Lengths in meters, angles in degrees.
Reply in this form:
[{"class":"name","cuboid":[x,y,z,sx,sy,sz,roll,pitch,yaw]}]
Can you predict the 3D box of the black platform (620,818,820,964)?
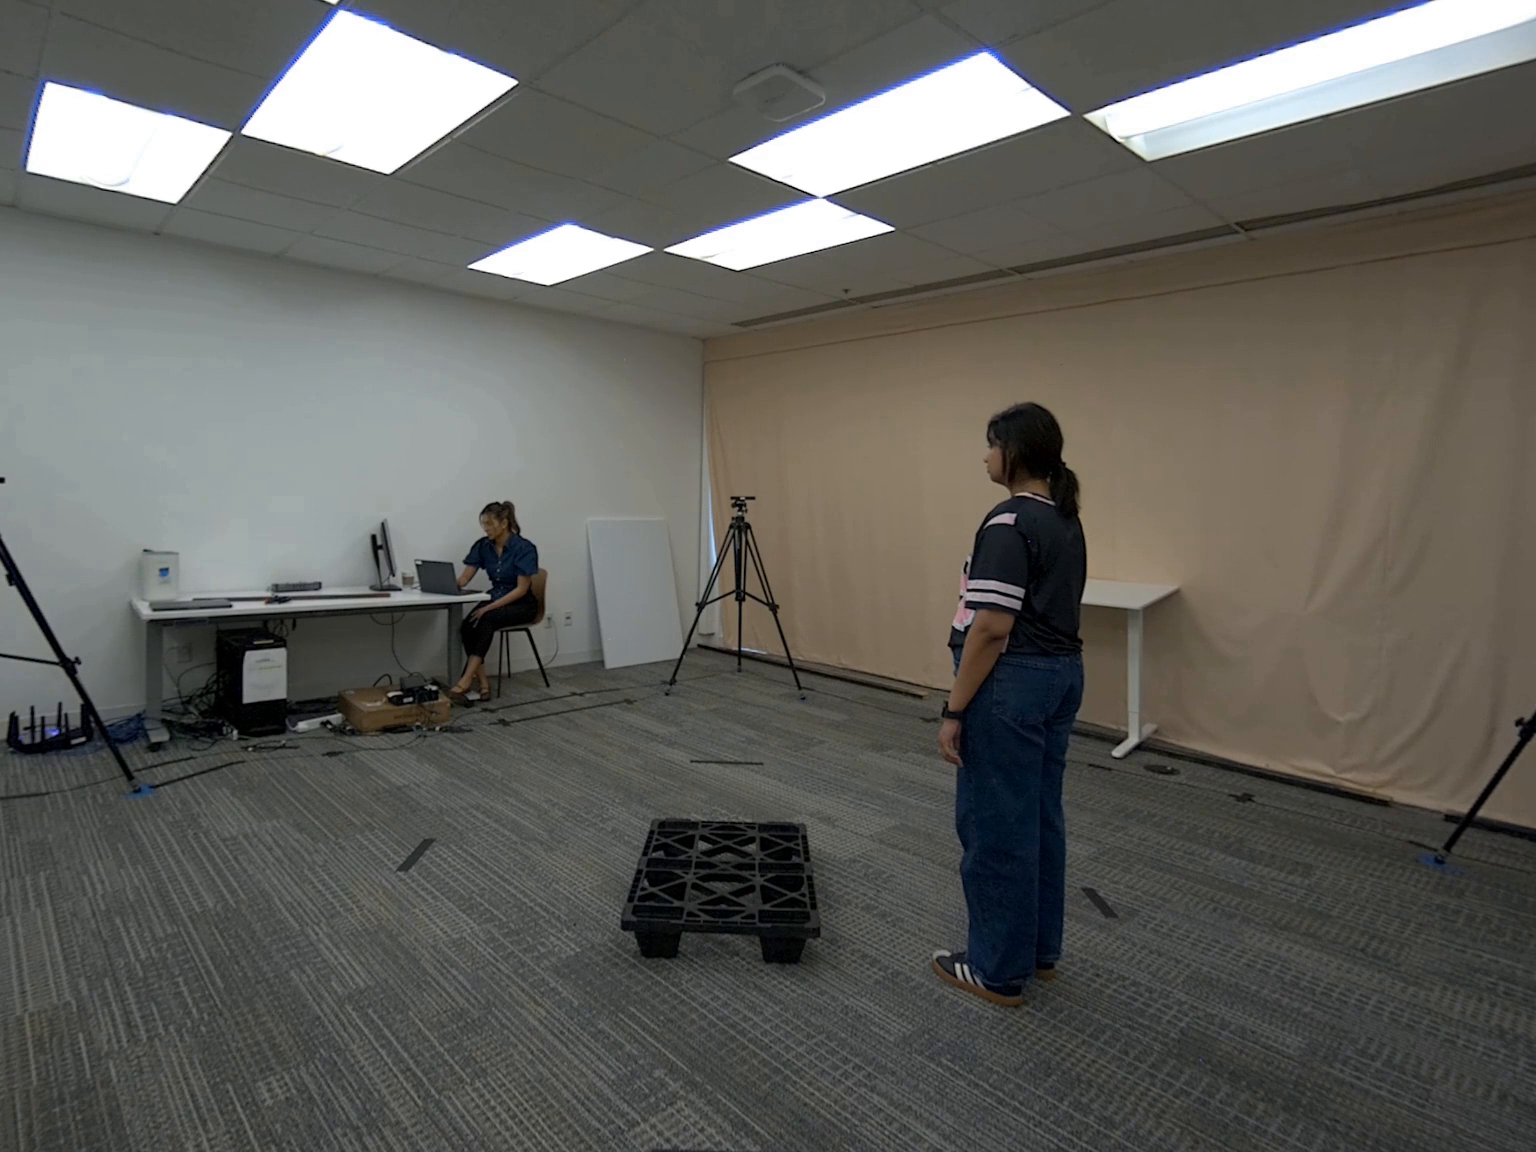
[{"class":"black platform","cuboid":[-0.158,1.057,2.887,0.606,0.143,0.807,1,5,0]}]
